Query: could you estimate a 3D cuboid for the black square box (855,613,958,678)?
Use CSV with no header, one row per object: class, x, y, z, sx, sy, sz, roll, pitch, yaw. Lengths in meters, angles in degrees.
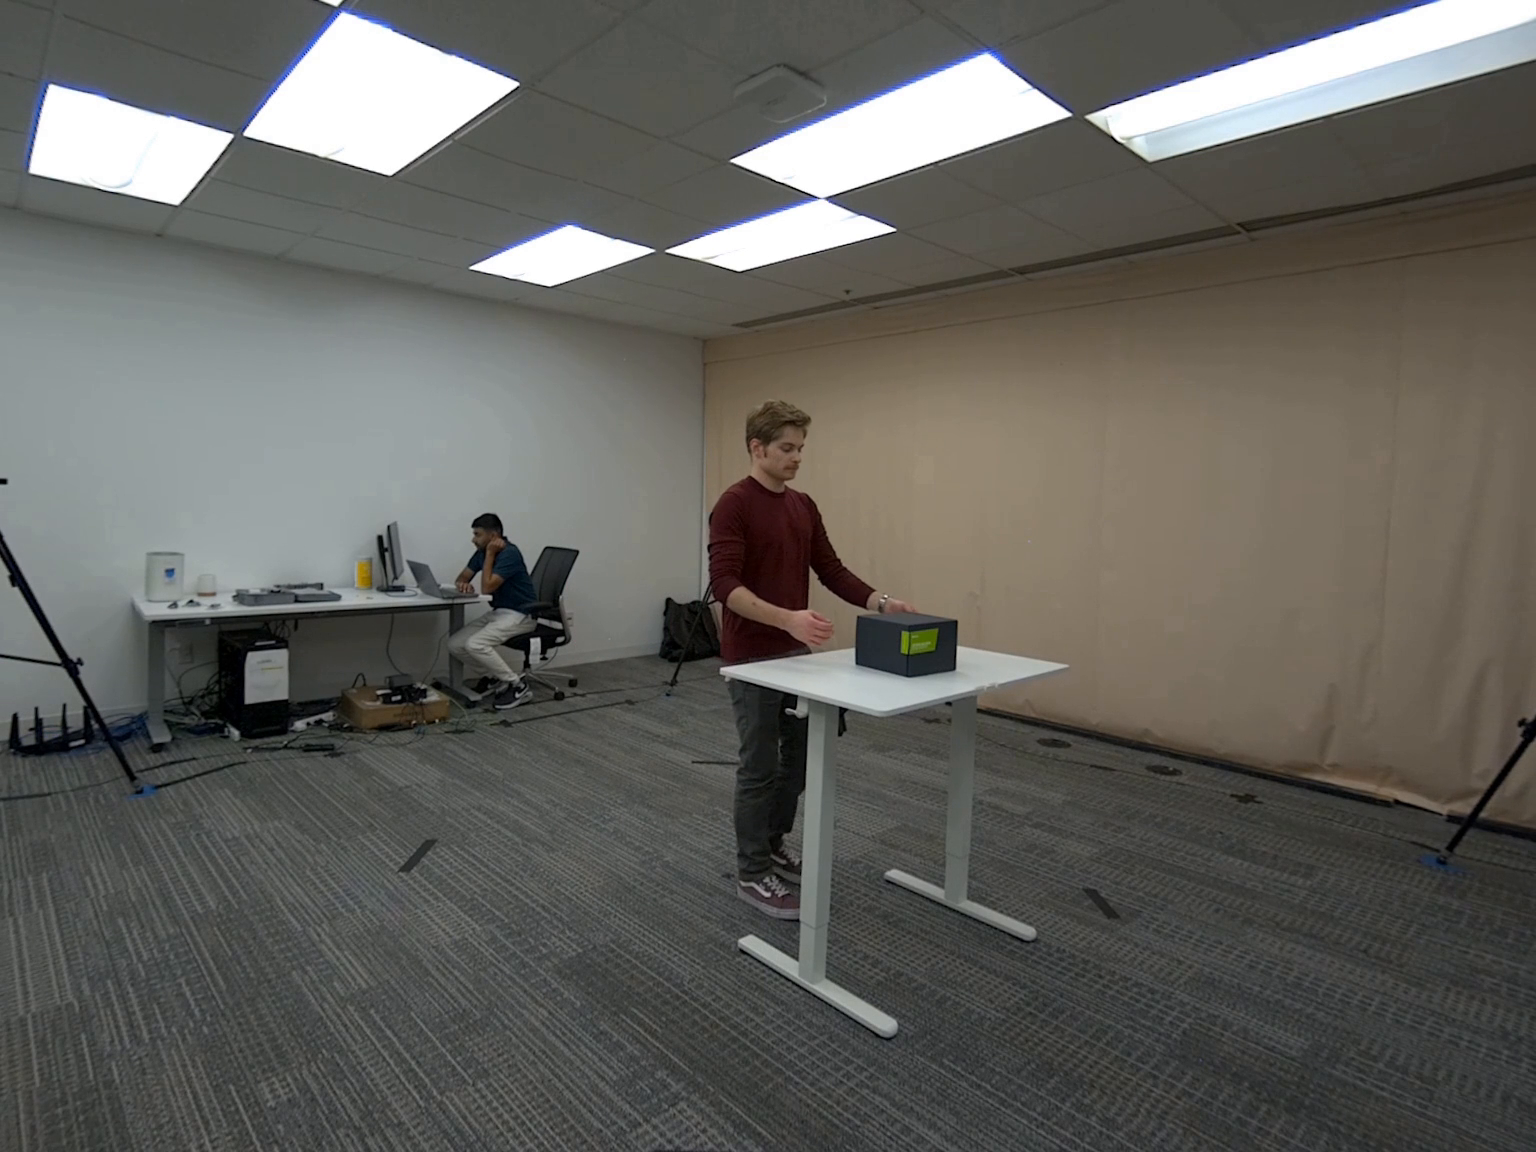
black square box,0.423,0.206,2.593,0.223,0.155,0.222,-2,6,-39
